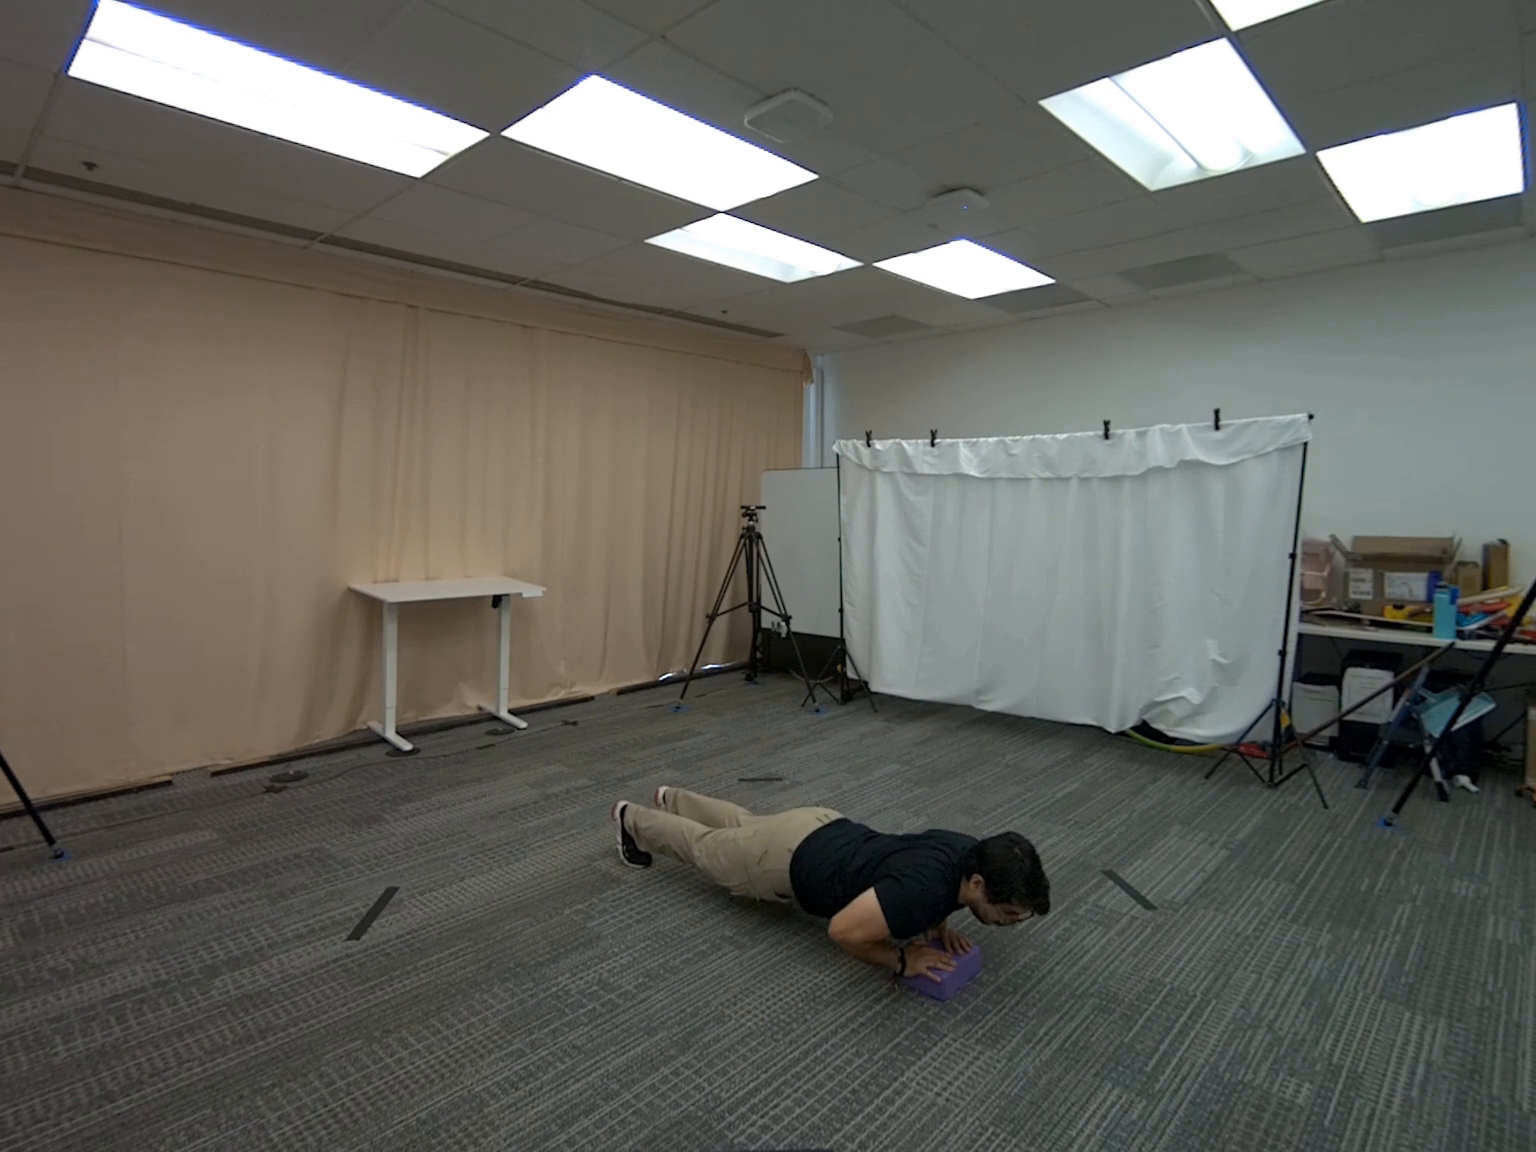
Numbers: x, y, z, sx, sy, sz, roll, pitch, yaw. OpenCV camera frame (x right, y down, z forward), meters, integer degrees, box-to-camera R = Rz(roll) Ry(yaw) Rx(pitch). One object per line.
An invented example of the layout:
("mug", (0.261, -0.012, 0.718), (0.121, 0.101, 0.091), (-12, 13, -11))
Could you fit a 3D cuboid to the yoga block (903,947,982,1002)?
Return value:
("yoga block", (0.507, 1.143, 2.478), (0.154, 0.076, 0.222), (2, 6, 42))
